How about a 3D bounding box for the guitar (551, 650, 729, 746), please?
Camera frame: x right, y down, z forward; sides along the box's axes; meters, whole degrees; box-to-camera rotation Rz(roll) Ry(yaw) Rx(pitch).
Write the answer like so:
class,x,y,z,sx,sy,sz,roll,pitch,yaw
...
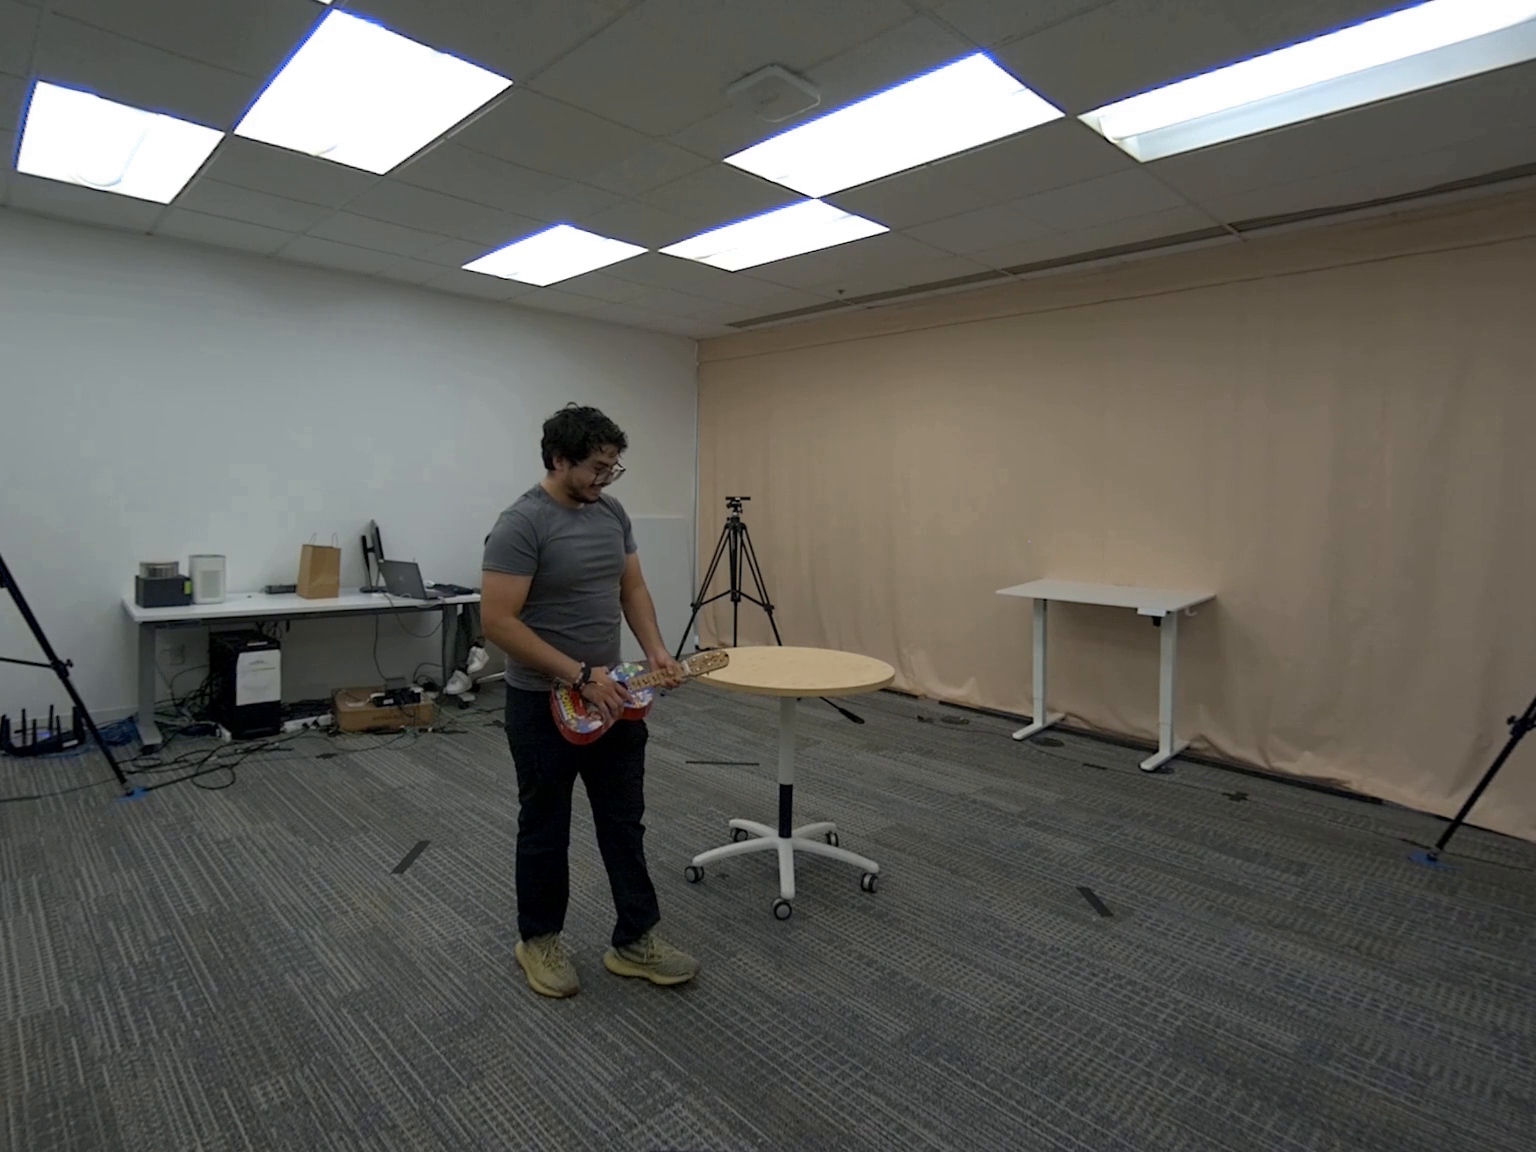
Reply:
class,x,y,z,sx,sy,sz,roll,pitch,yaw
guitar,-0.332,0.319,2.264,0.491,0.198,0.070,-6,-36,-19
